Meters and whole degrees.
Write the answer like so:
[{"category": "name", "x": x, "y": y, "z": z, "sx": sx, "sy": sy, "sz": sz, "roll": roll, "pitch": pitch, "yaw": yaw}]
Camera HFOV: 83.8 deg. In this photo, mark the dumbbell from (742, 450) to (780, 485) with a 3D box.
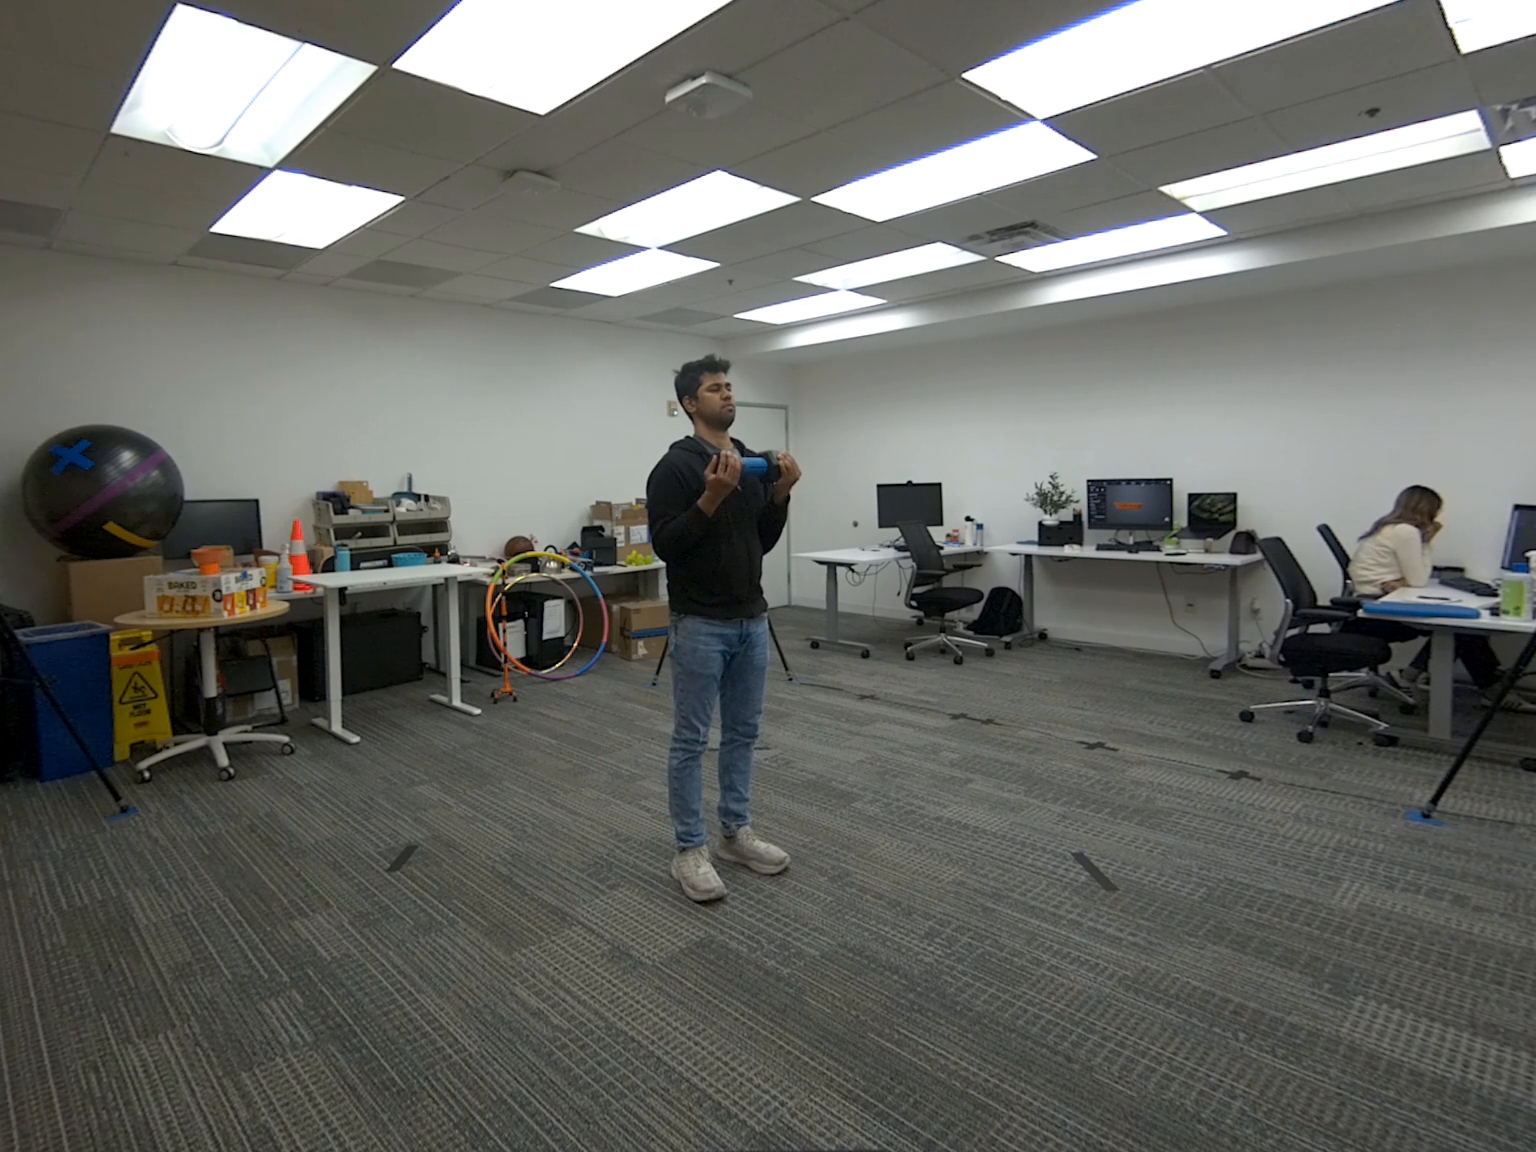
[{"category": "dumbbell", "x": -0.078, "y": -0.351, "z": 2.860, "sx": 0.286, "sy": 0.109, "sz": 0.126, "roll": -5, "pitch": 0, "yaw": -40}]
